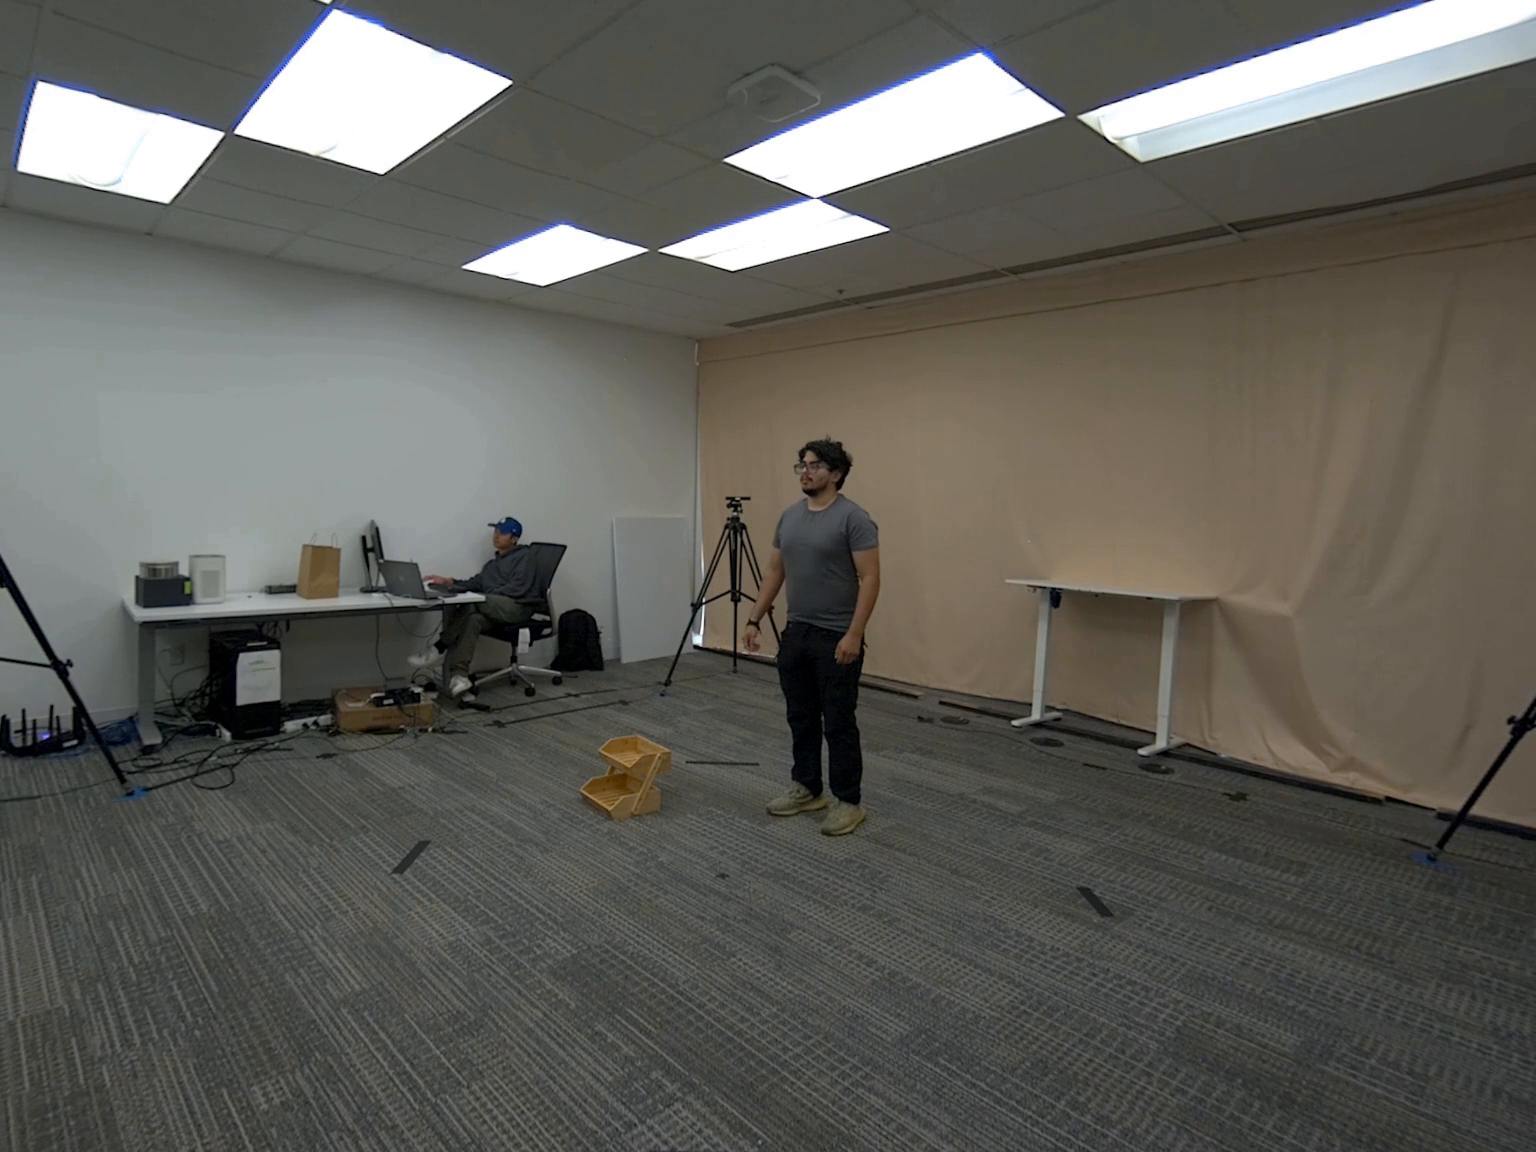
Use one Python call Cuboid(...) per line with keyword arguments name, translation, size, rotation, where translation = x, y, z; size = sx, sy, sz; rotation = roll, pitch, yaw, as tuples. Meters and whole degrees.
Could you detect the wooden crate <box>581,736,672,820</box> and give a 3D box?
Cuboid(name="wooden crate", translation=(-0.668, 0.905, 3.809), size=(0.295, 0.273, 0.332), rotation=(-1, 4, -38))
